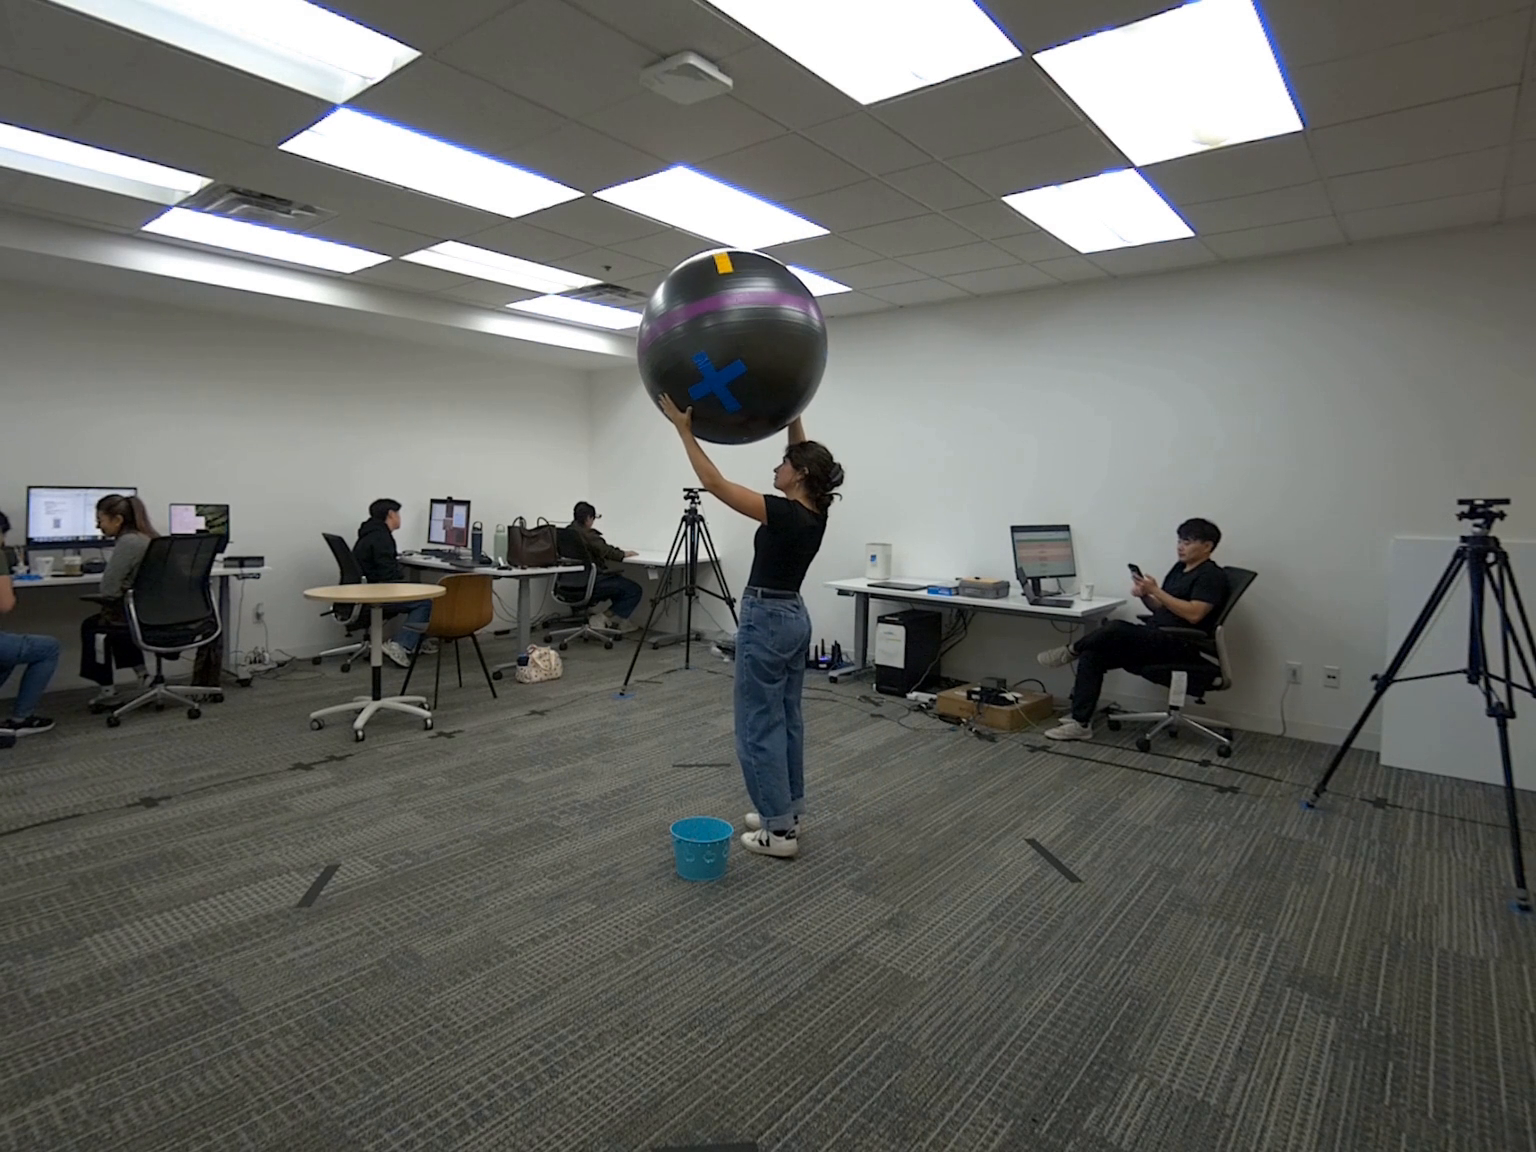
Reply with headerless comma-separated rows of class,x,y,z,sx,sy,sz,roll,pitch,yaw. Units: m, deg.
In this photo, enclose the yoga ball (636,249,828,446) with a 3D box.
yoga ball,-0.155,-0.908,3.388,0.757,0.756,0.762,1,4,-2
